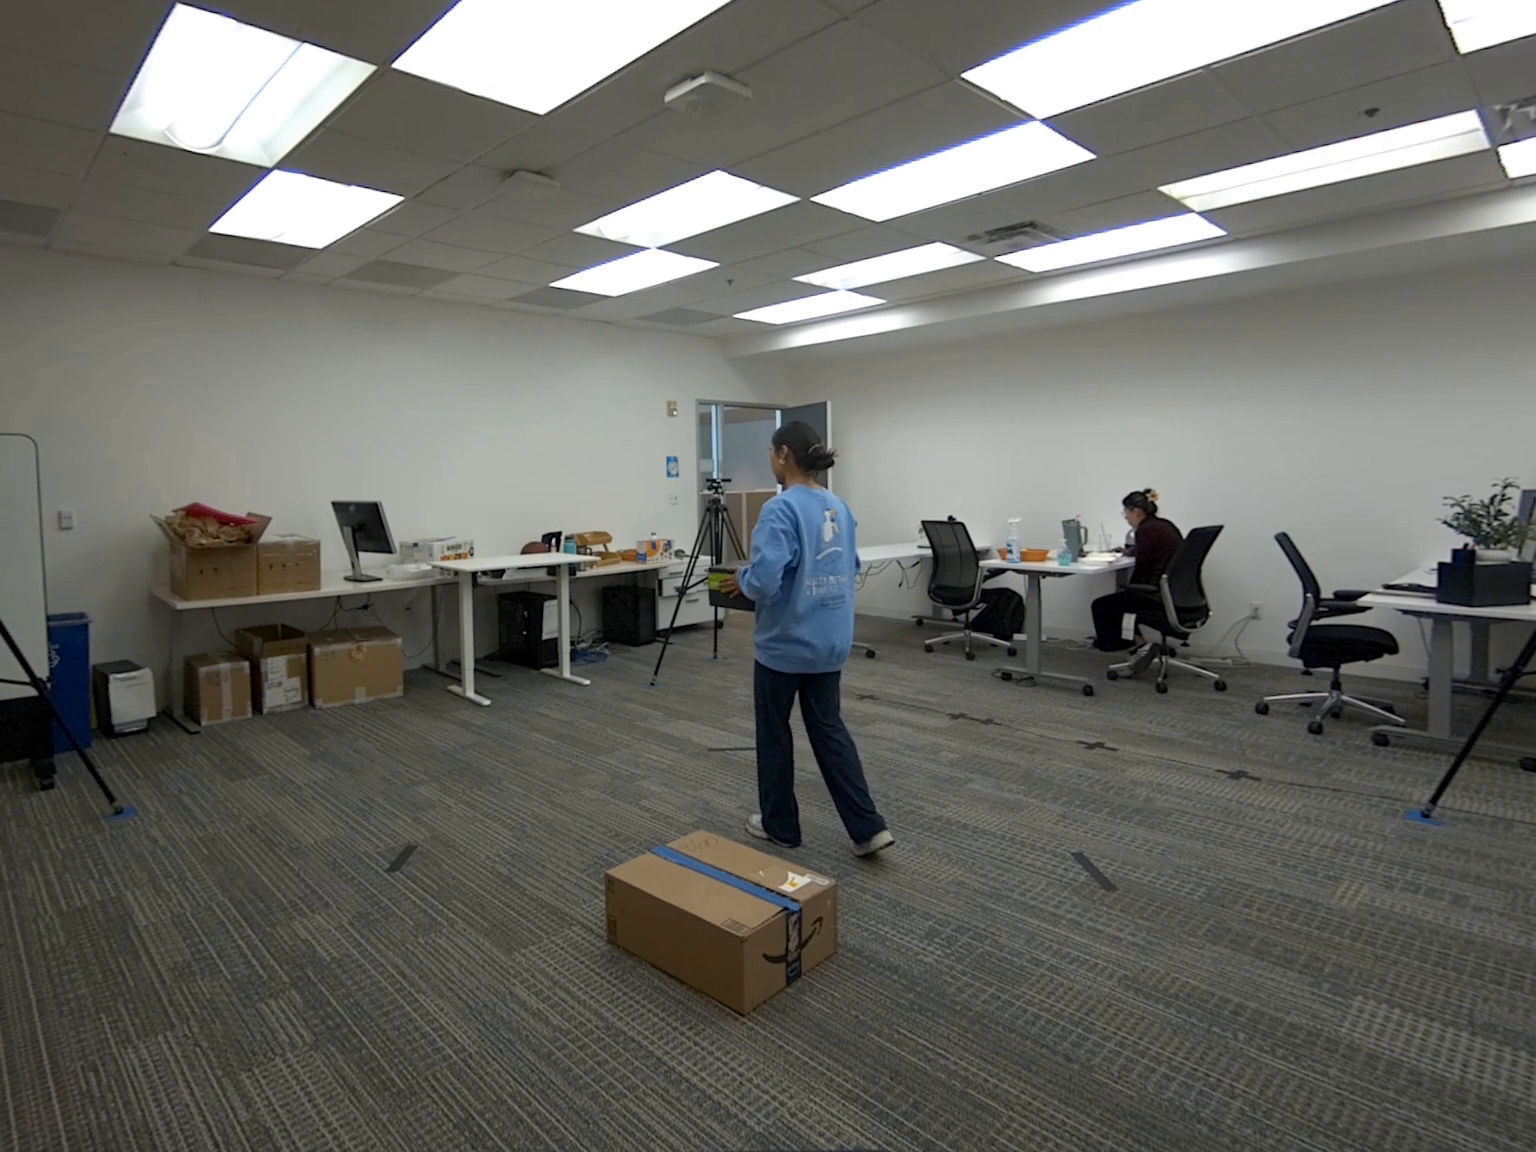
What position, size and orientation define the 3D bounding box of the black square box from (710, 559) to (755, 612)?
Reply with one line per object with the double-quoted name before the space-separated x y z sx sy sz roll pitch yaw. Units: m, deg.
"black square box" -0.072 0.032 3.367 0.235 0.155 0.212 5 11 35
